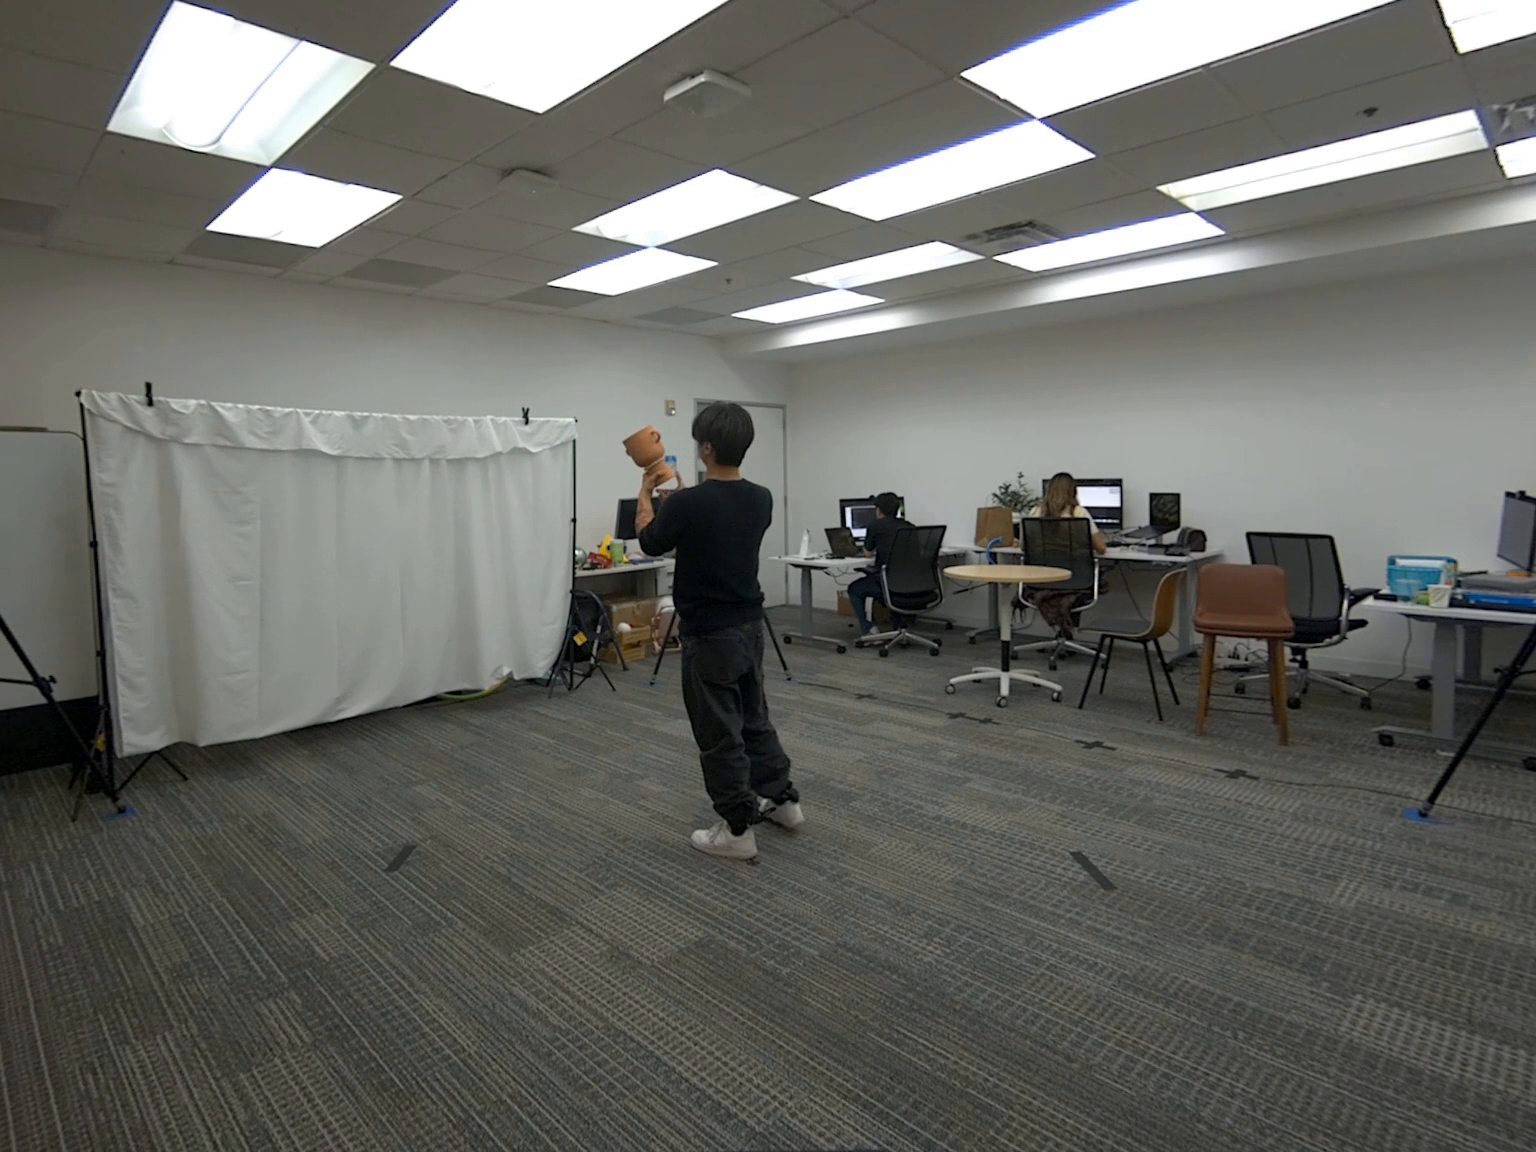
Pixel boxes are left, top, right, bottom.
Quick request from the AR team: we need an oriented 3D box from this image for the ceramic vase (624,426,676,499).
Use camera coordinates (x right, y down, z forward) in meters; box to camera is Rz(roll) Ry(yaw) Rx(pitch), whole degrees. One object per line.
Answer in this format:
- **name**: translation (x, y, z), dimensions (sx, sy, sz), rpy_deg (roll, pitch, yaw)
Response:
- **ceramic vase**: translation (-0.455, -0.464, 3.333), dimensions (0.134, 0.217, 0.161), rpy_deg (-32, 9, -11)
